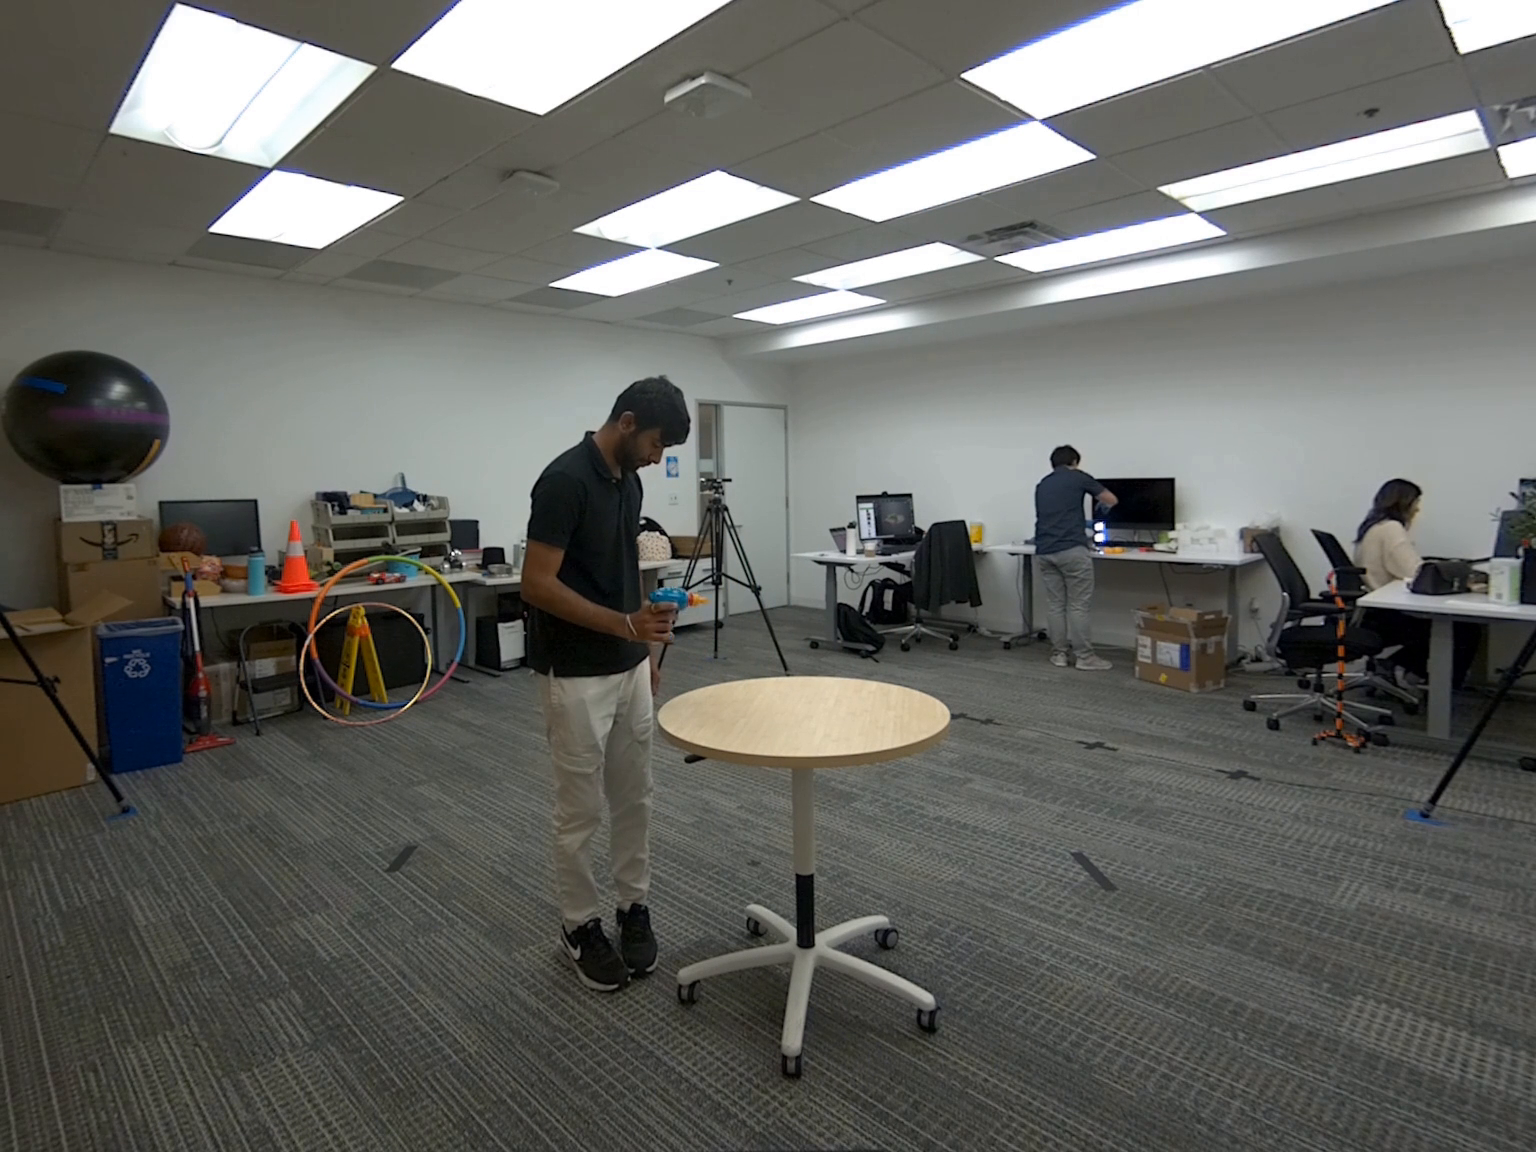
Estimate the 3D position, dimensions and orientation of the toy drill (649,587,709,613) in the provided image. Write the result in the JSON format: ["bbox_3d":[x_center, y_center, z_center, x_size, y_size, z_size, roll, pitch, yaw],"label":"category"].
[{"bbox_3d":[-0.250,0.111,2.225,0.166,0.145,0.063,7,13,-18],"label":"toy drill"}]
